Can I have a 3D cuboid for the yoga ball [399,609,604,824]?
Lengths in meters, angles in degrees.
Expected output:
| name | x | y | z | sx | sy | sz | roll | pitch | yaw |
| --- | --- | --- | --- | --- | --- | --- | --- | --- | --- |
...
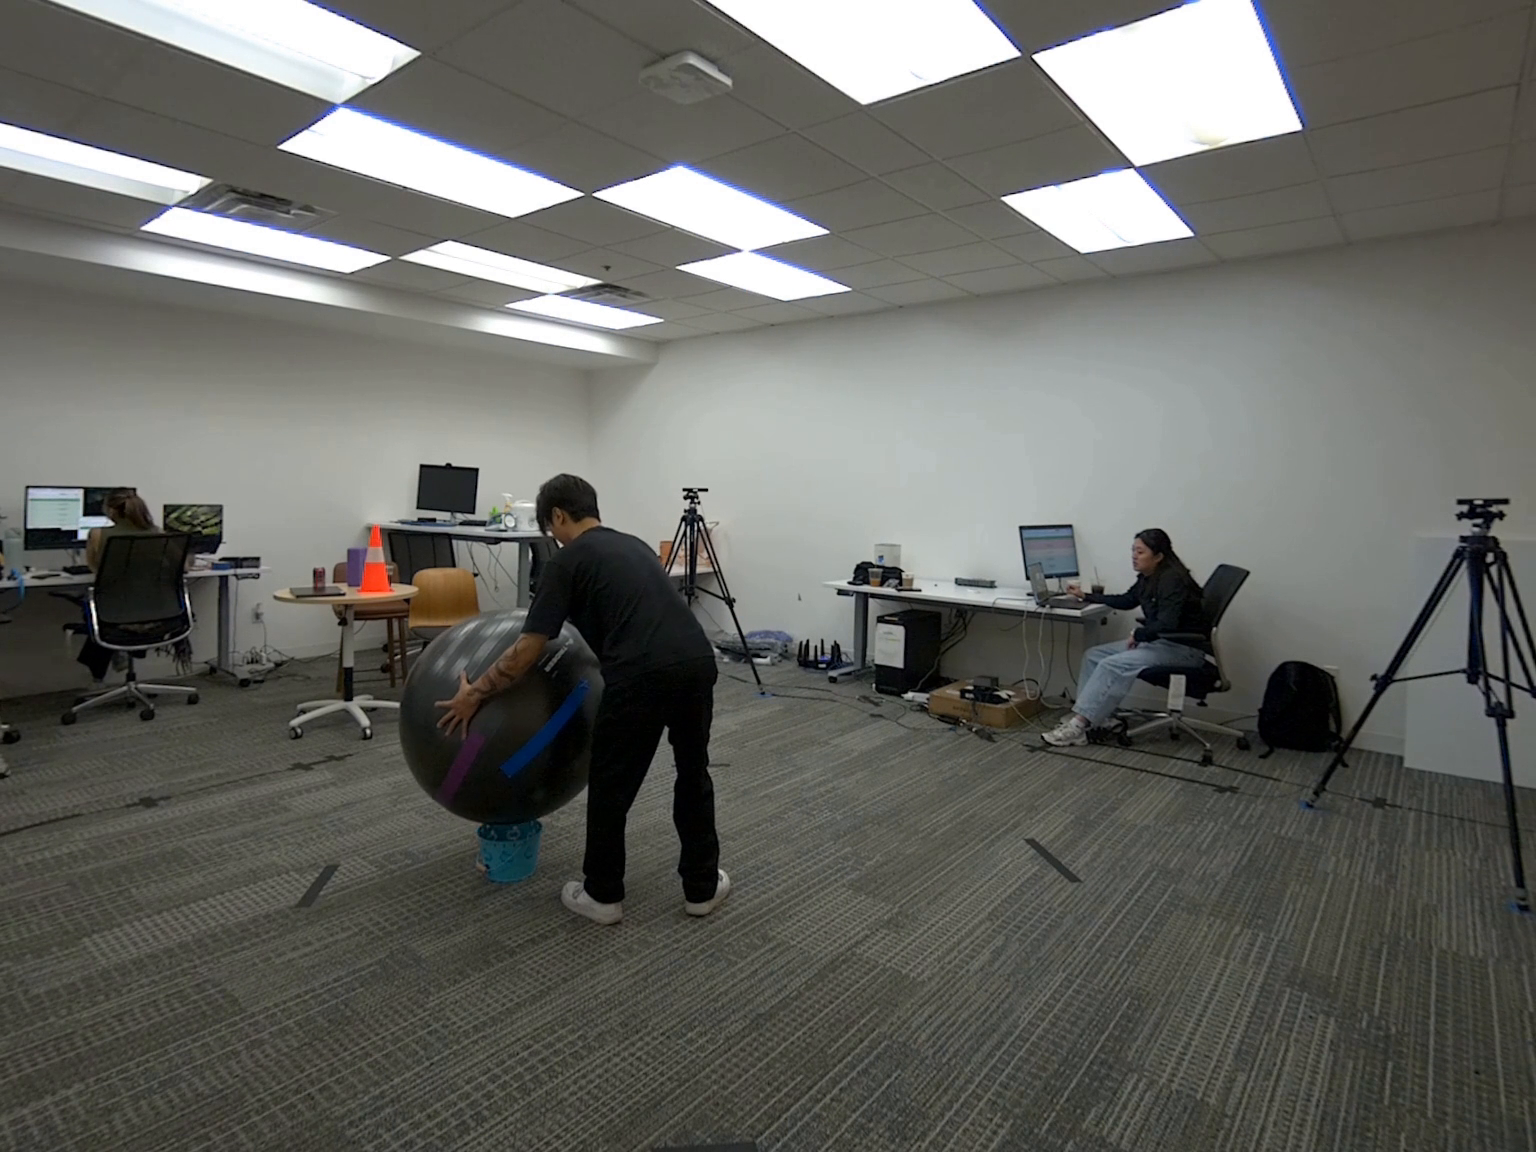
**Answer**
| name | x | y | z | sx | sy | sz | roll | pitch | yaw |
| --- | --- | --- | --- | --- | --- | --- | --- | --- | --- |
| yoga ball | -0.951 | 0.503 | 3.083 | 0.757 | 0.755 | 0.762 | 1 | 4 | -2 |
